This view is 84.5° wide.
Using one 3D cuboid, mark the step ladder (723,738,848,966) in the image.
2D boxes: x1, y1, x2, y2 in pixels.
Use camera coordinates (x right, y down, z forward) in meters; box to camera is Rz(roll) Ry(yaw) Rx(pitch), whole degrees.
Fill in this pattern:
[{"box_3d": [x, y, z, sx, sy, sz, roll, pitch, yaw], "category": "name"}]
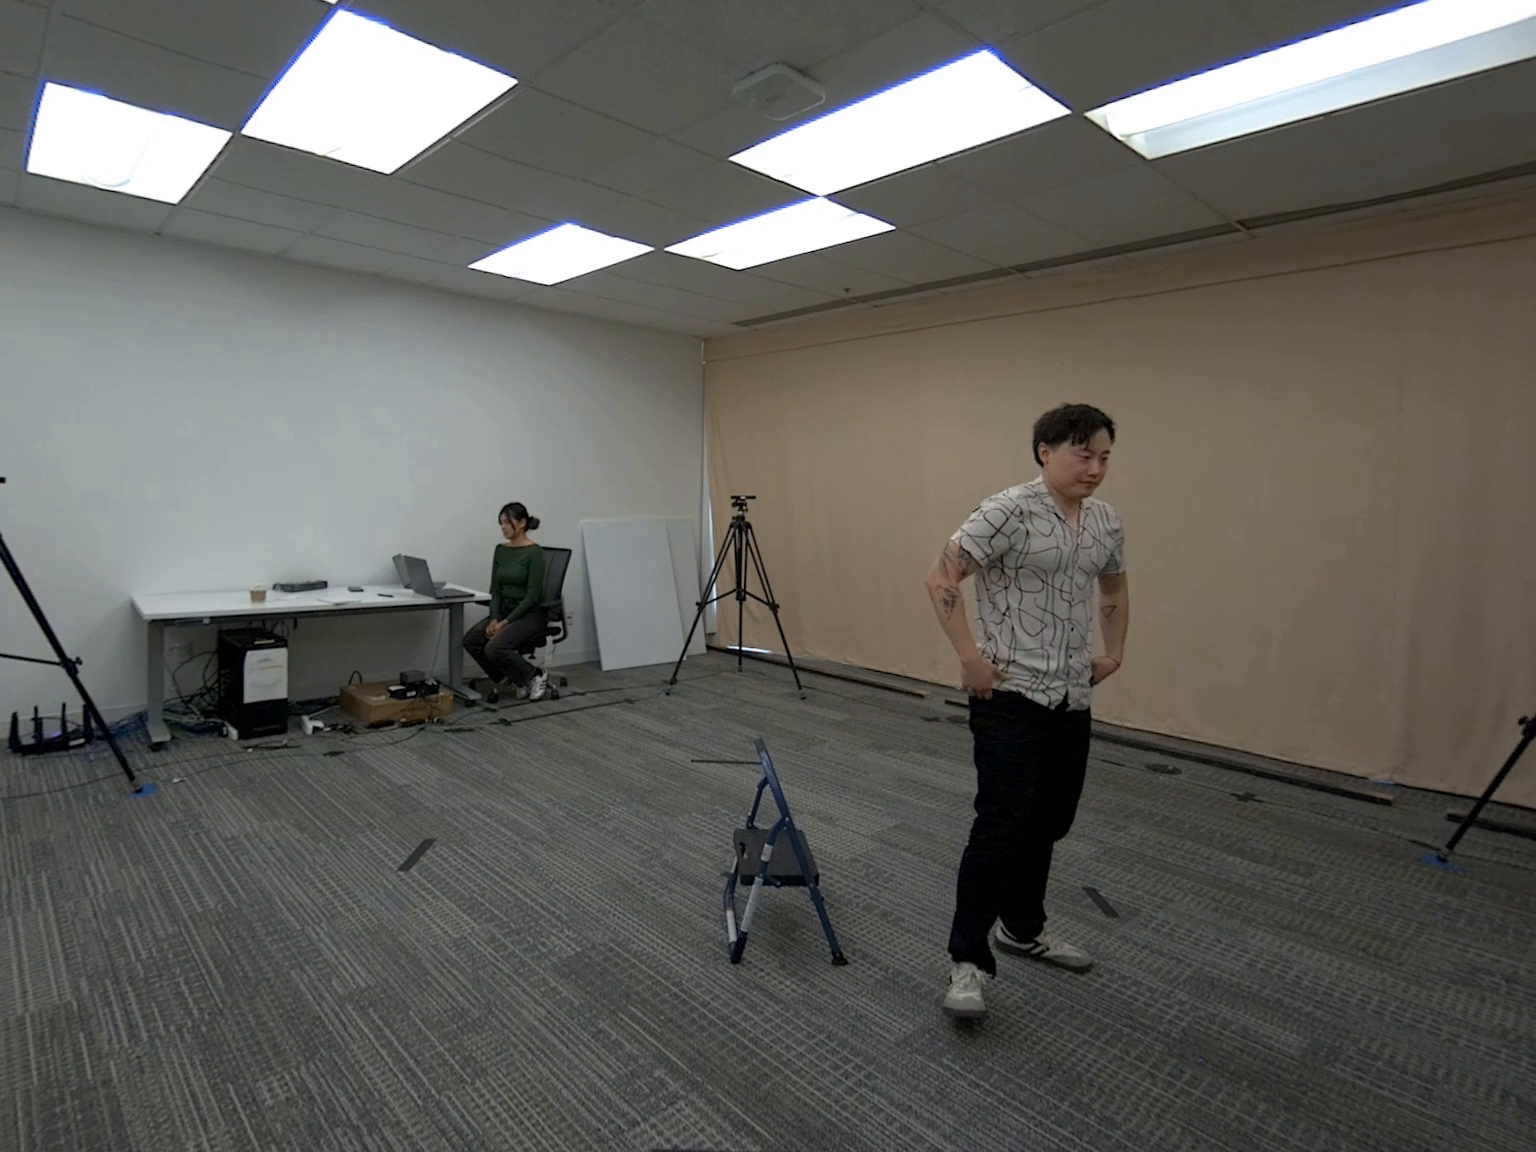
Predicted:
[{"box_3d": [0.035, 0.843, 2.704, 0.348, 0.604, 0.434, 1, 4, -6], "category": "step ladder"}]
